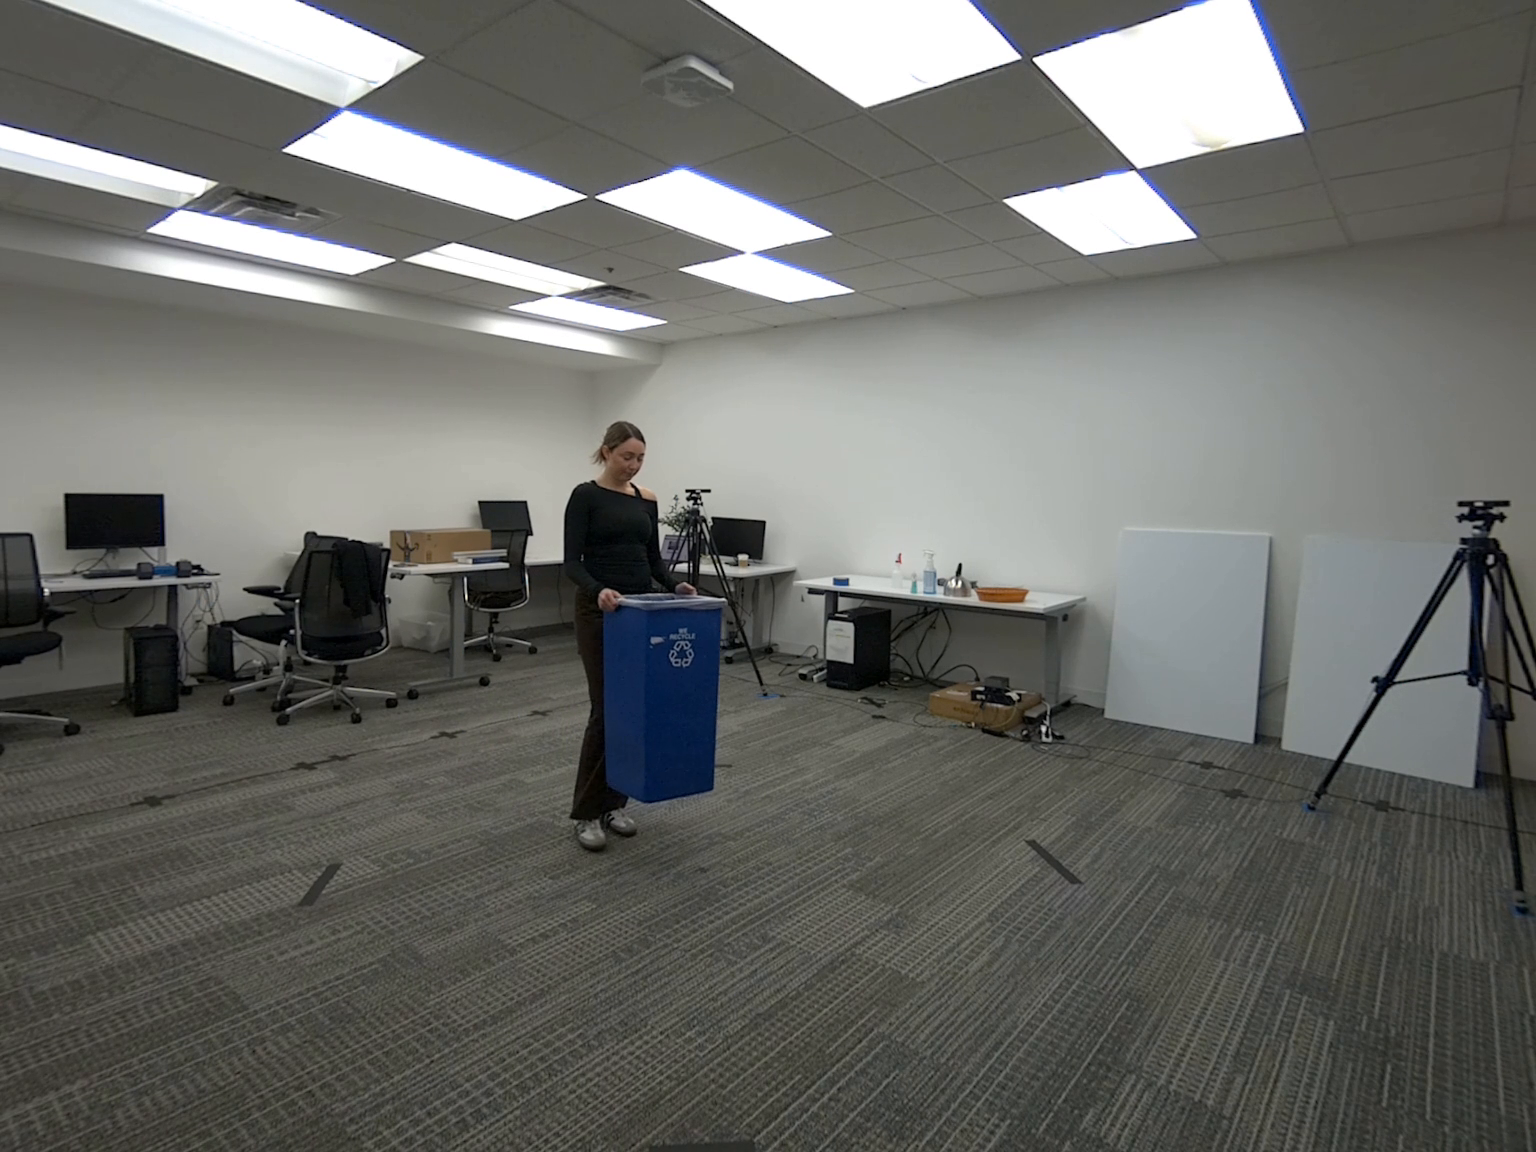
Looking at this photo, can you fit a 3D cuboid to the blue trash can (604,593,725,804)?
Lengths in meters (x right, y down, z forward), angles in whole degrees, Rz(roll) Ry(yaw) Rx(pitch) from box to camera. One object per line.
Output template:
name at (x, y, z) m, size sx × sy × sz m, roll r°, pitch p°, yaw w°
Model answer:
blue trash can at (-0.409, 0.439, 3.203) m, size 0.363 × 0.713 × 0.390 m, roll 1°, pitch 1°, yaw -37°
